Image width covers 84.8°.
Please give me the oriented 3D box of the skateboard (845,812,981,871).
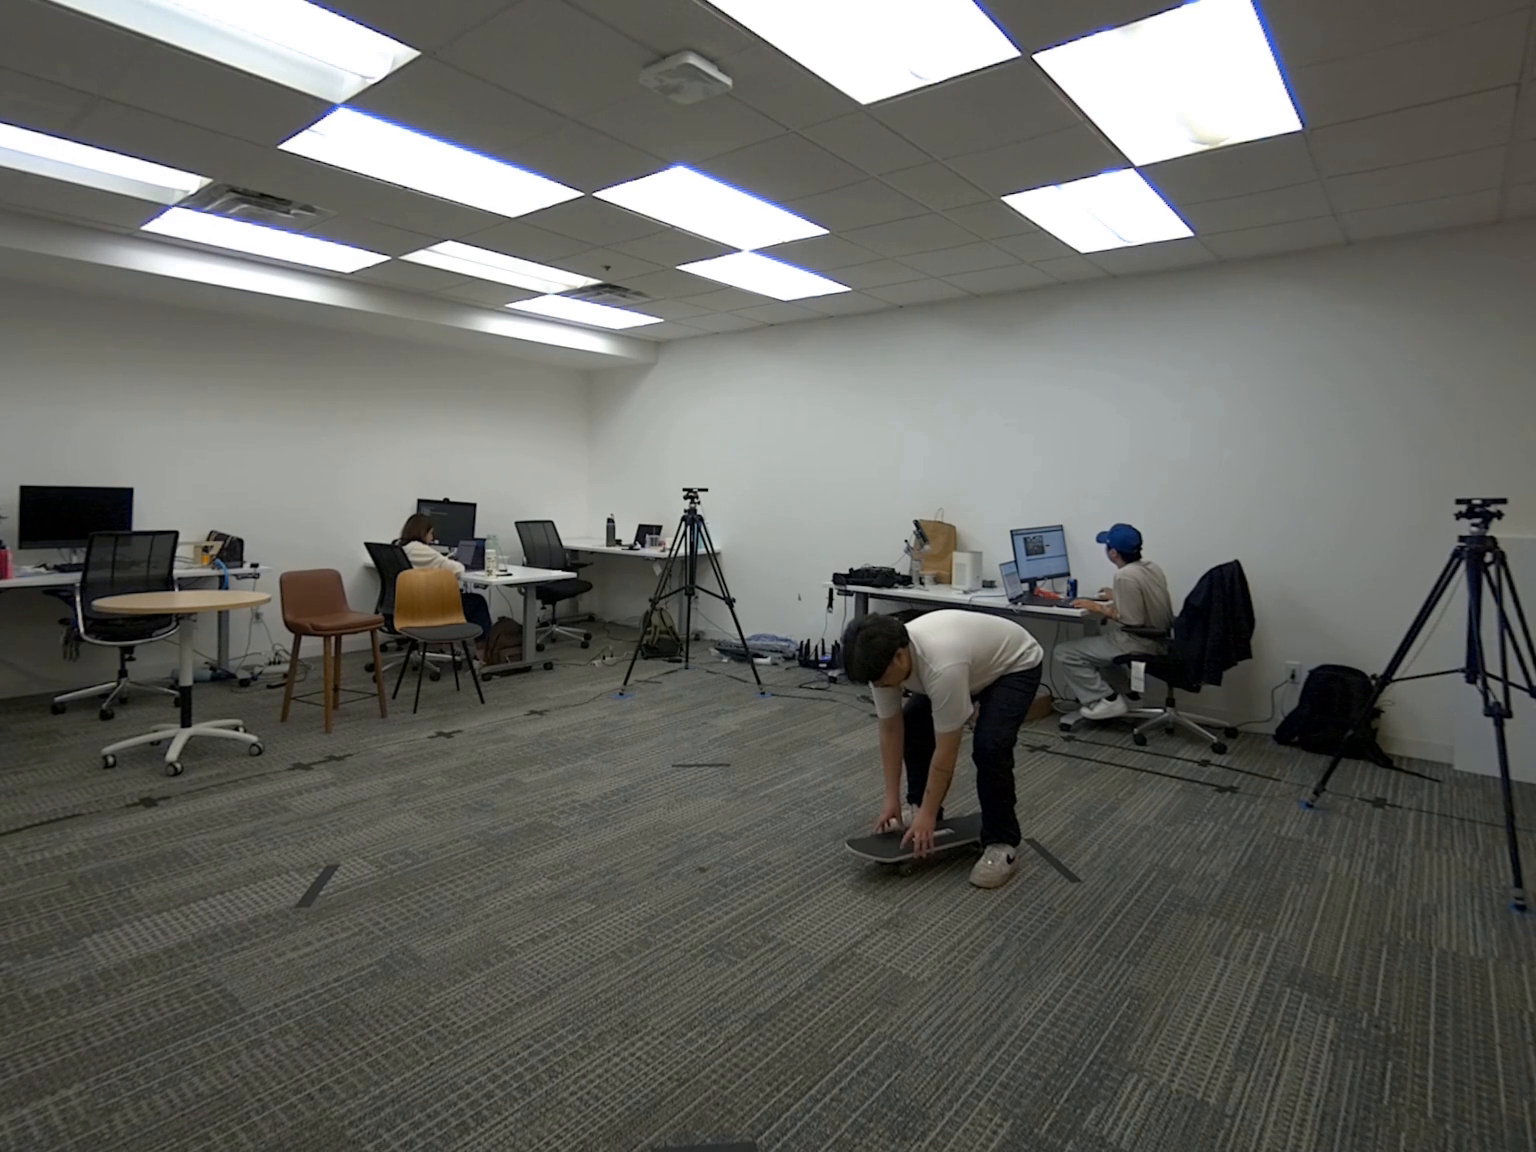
[{"bbox_3d":[0.622,1.021,3.258,0.765,0.110,0.199,-2,6,-29],"label":"skateboard"}]
